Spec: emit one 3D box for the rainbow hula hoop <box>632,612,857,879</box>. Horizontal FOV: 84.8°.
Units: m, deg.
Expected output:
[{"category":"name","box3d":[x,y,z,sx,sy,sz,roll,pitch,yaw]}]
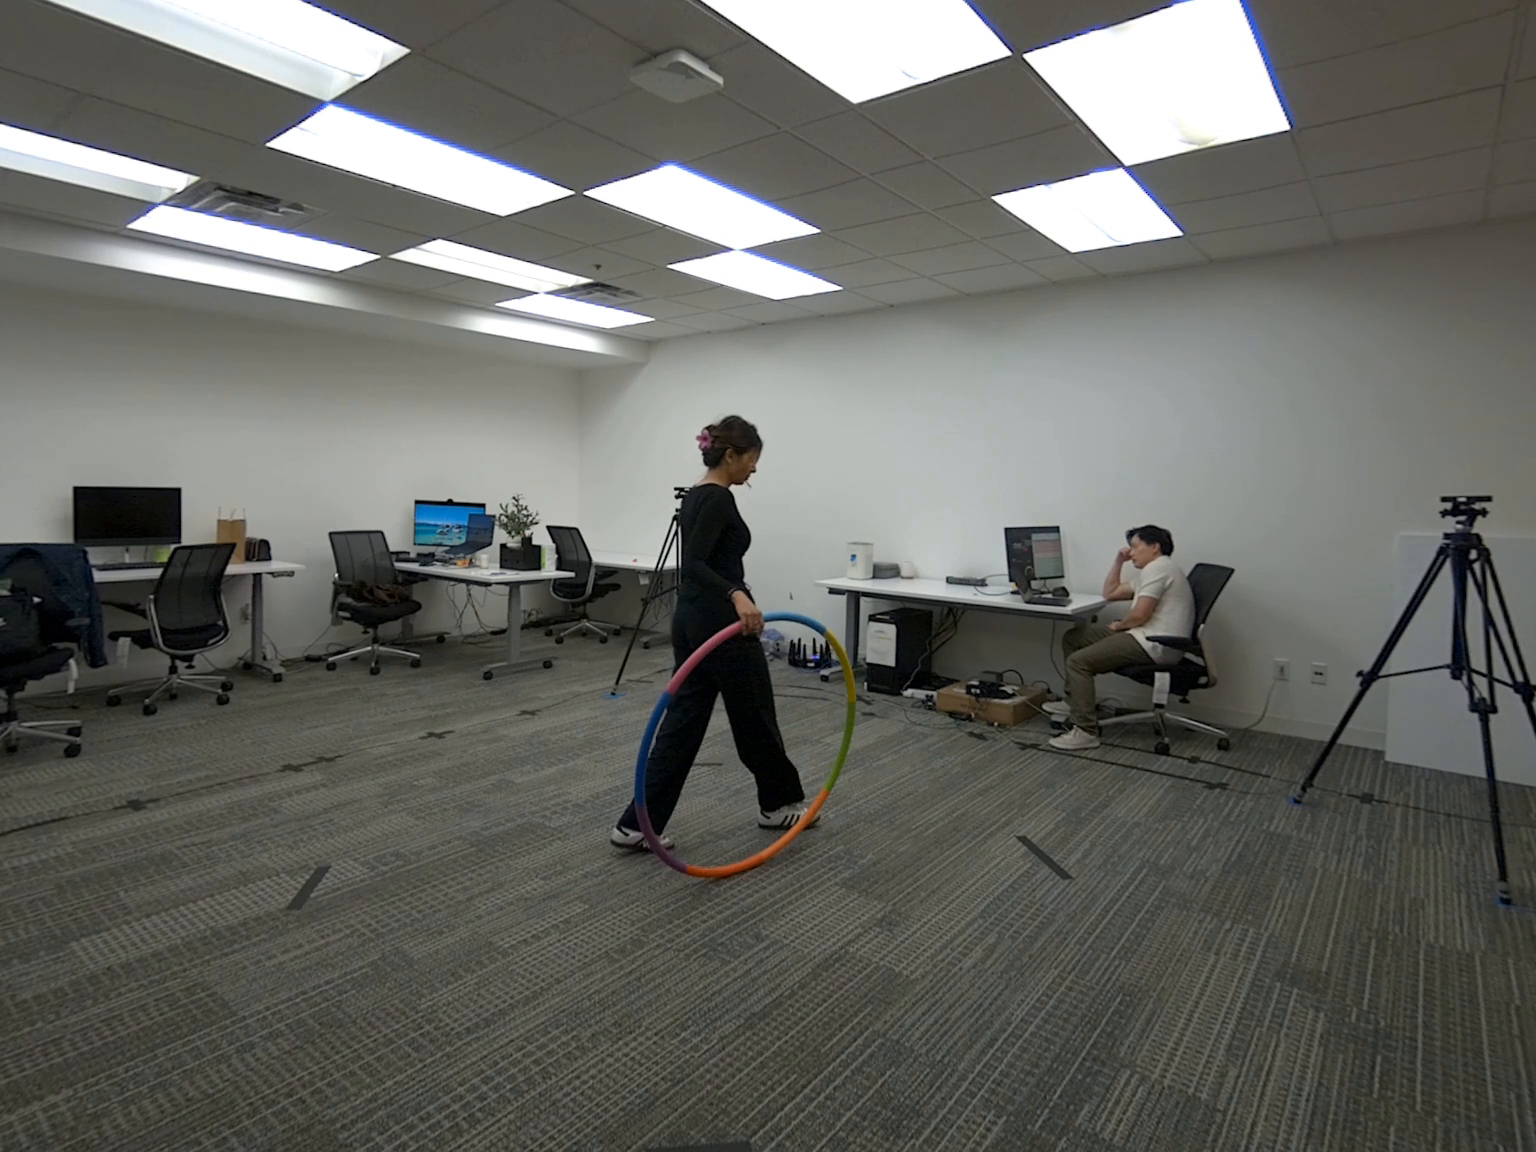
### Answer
[{"category":"rainbow hula hoop","box3d":[-0.060,0.597,3.000,0.950,0.970,0.037,-2,13,-38]}]
